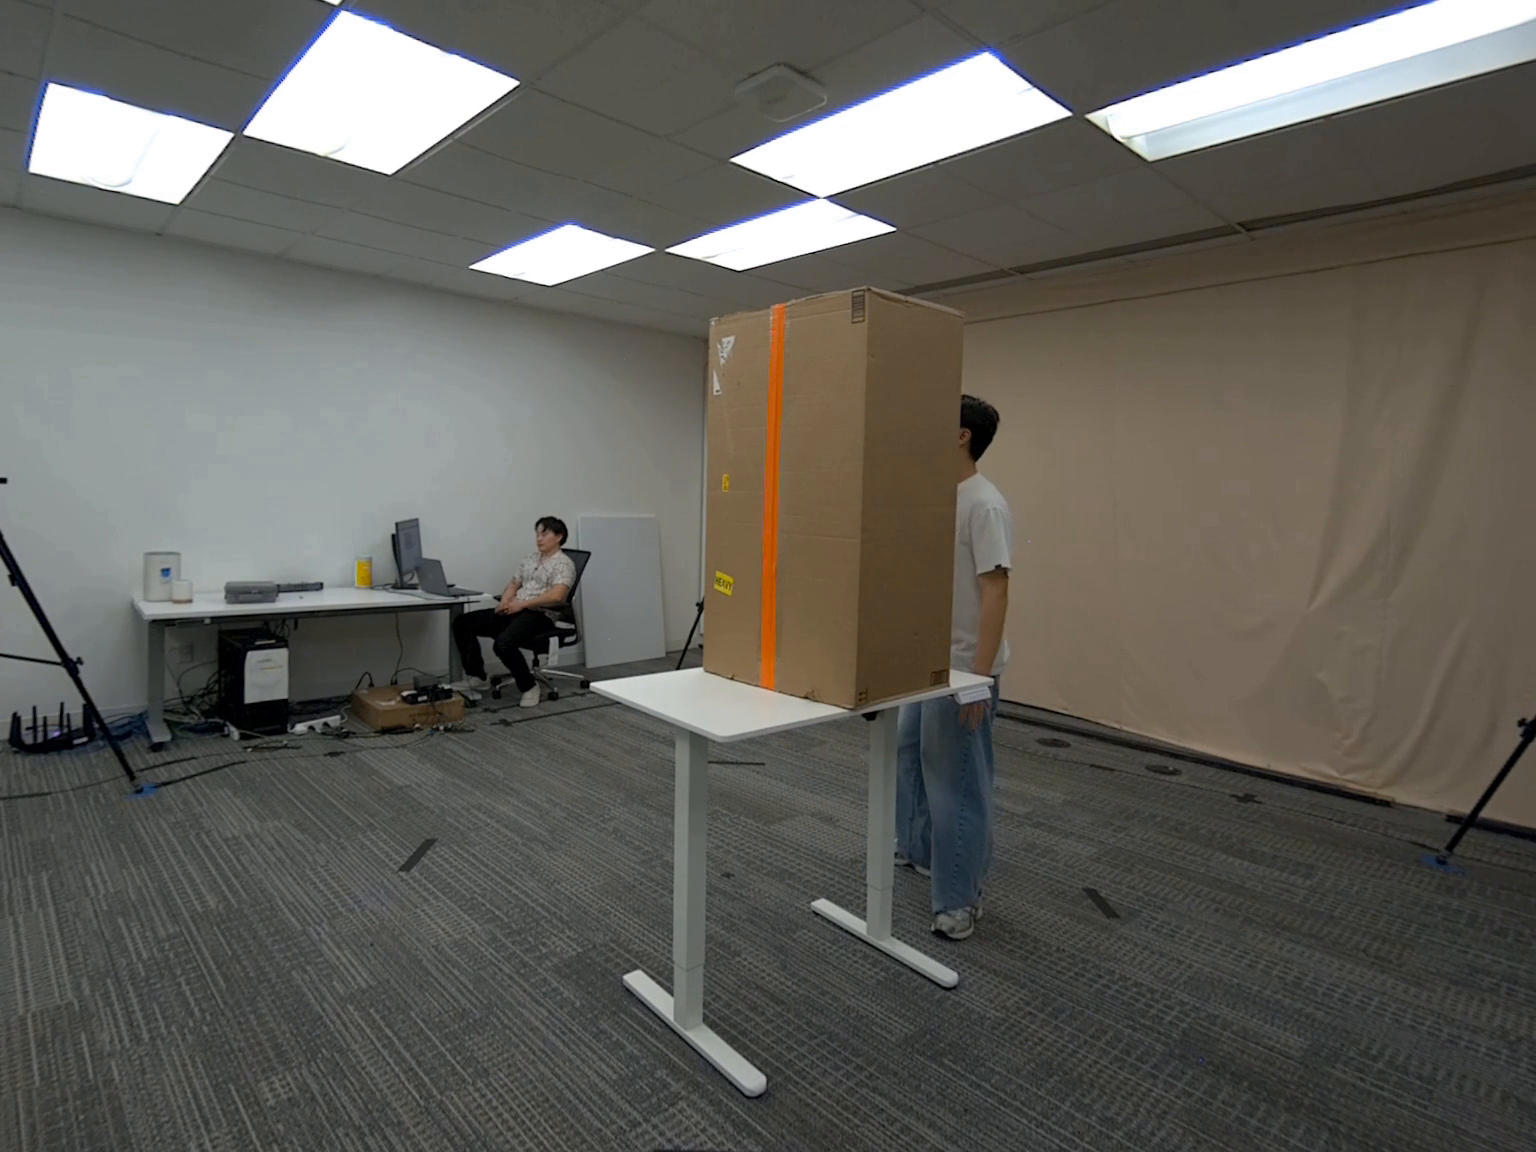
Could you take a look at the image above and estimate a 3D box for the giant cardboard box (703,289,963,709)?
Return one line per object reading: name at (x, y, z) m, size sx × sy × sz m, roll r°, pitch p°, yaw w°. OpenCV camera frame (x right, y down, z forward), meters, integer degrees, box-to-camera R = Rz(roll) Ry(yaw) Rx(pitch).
giant cardboard box at (0.166, -0.209, 2.361) m, size 0.416 × 1.023 × 0.592 m, roll -3°, pitch 6°, yaw -43°
